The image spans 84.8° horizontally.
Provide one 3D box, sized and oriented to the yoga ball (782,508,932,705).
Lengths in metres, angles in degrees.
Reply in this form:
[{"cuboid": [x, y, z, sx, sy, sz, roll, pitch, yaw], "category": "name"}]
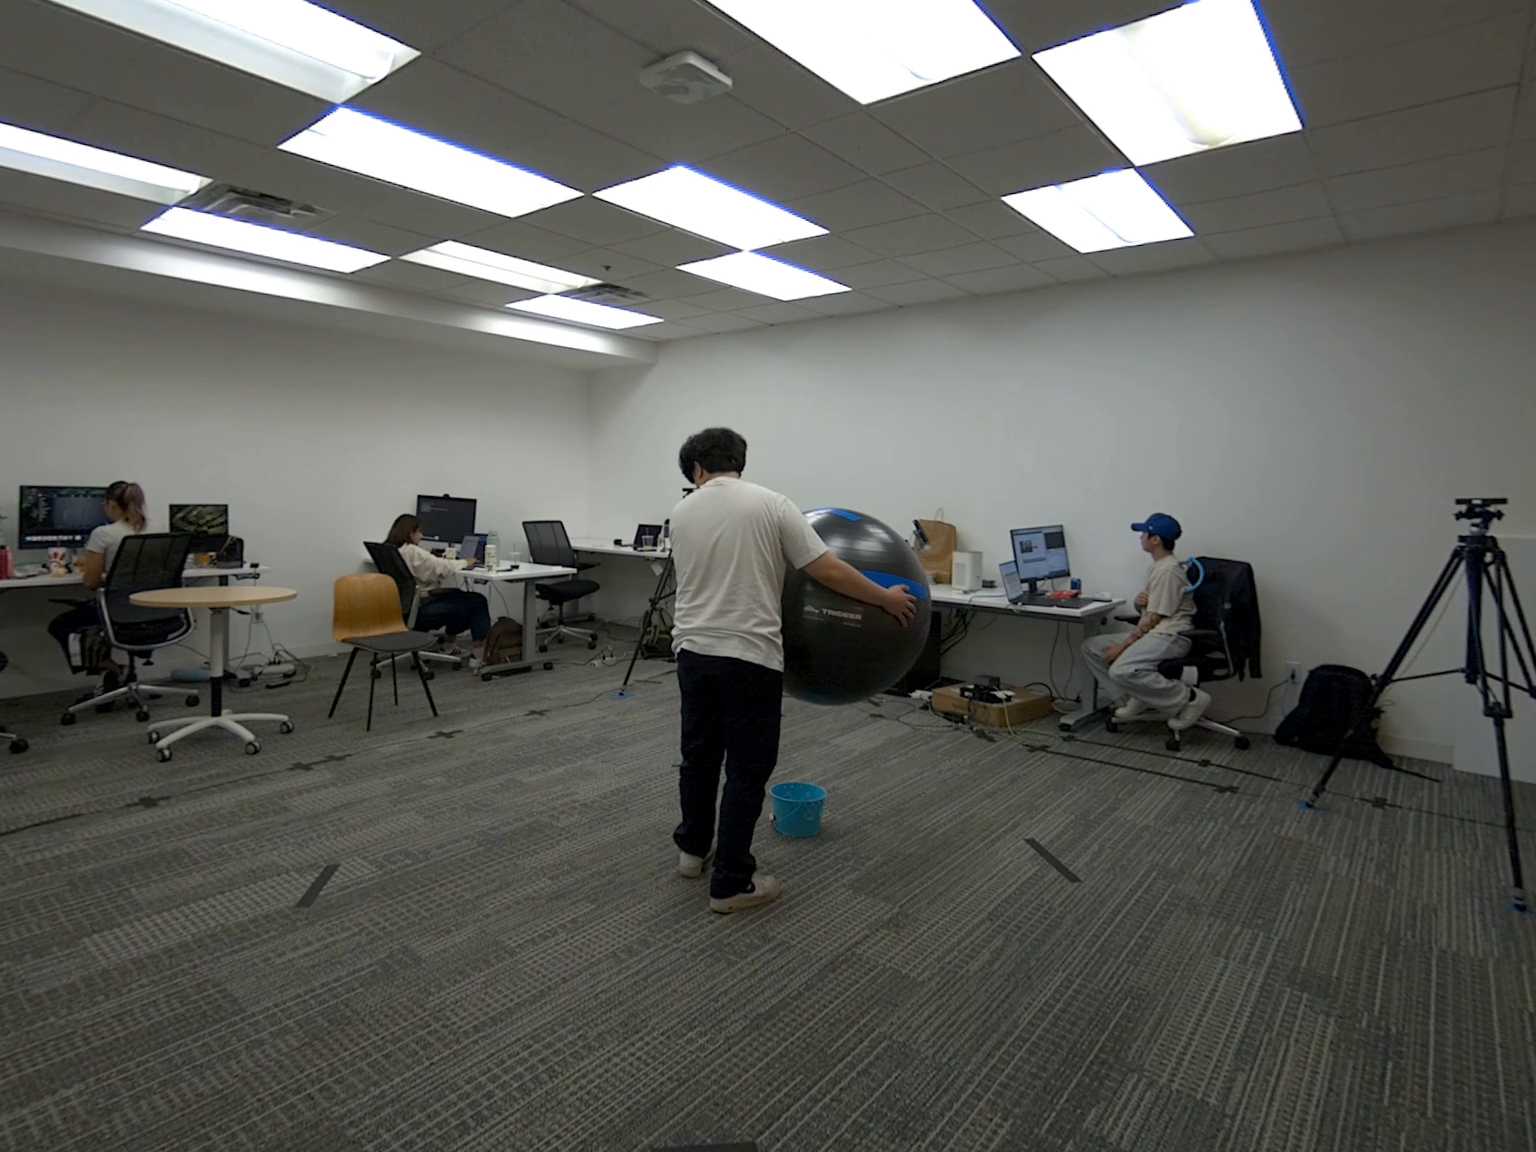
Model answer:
[{"cuboid": [0.248, 0.119, 3.314, 0.757, 0.755, 0.762, 1, 4, -2], "category": "yoga ball"}]
